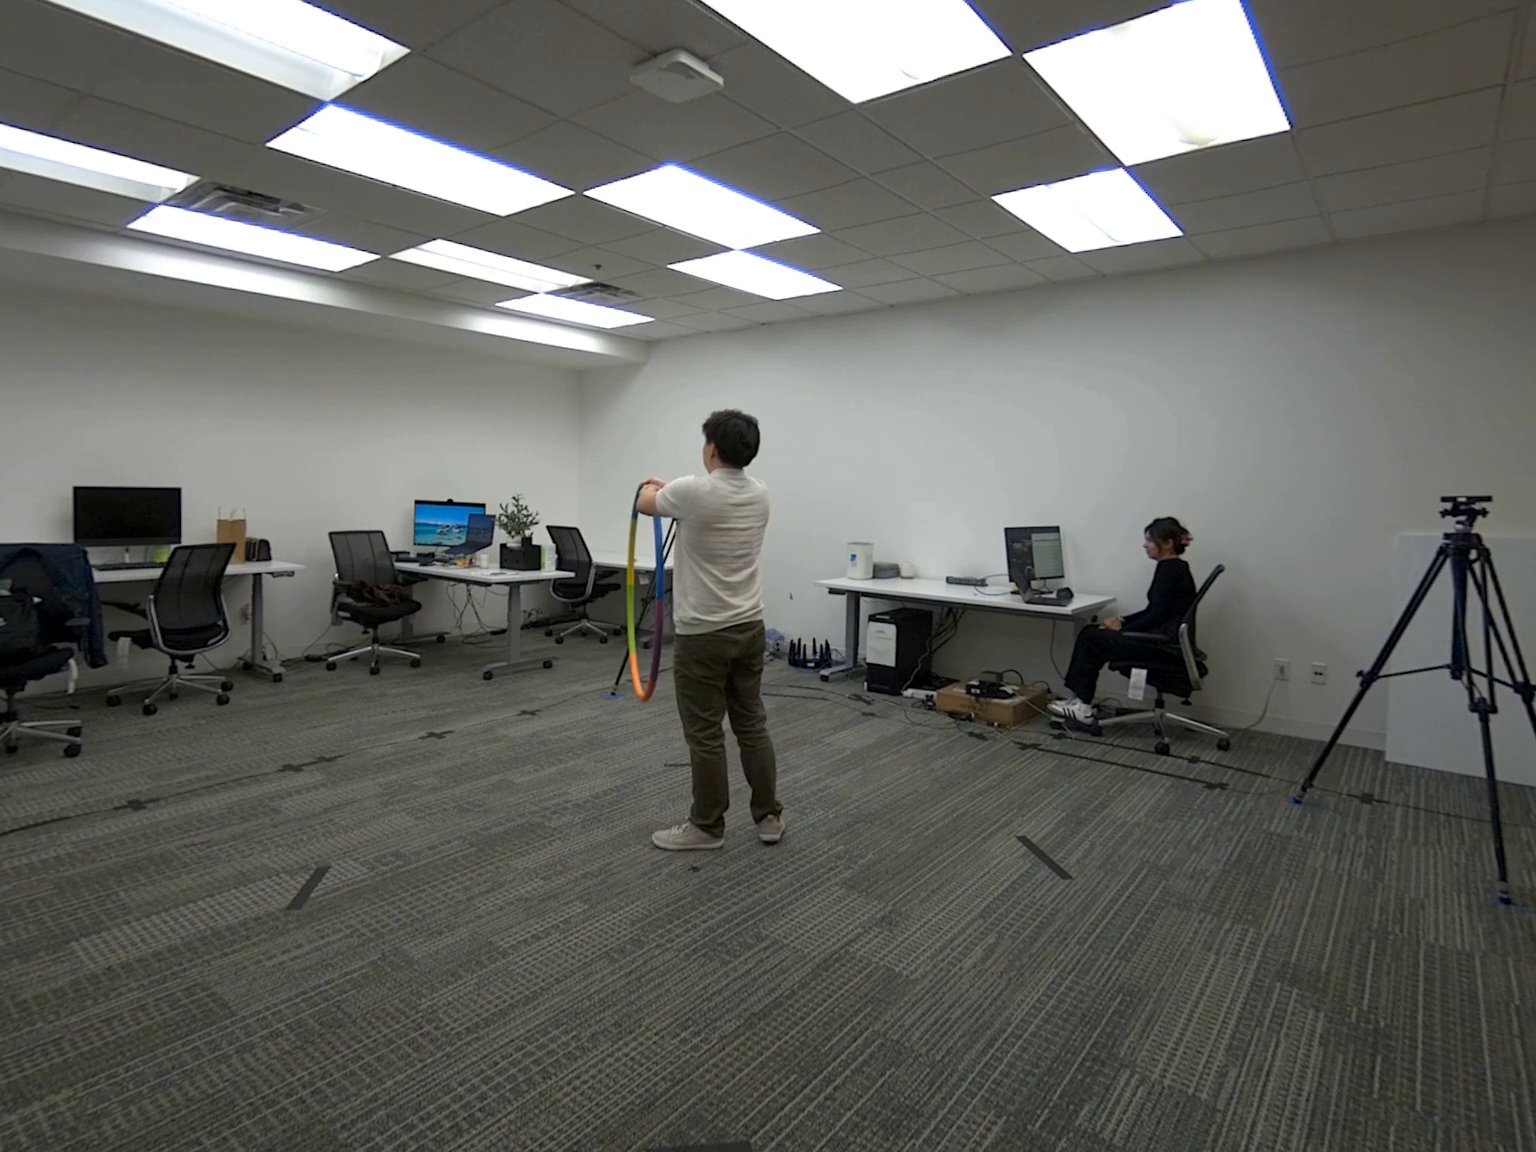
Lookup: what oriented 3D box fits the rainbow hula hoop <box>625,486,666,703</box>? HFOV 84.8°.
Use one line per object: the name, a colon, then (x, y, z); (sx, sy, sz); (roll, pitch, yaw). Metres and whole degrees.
rainbow hula hoop: (-0.577, 0.061, 3.848); (0.035, 0.975, 0.994); (-1, 4, -13)
